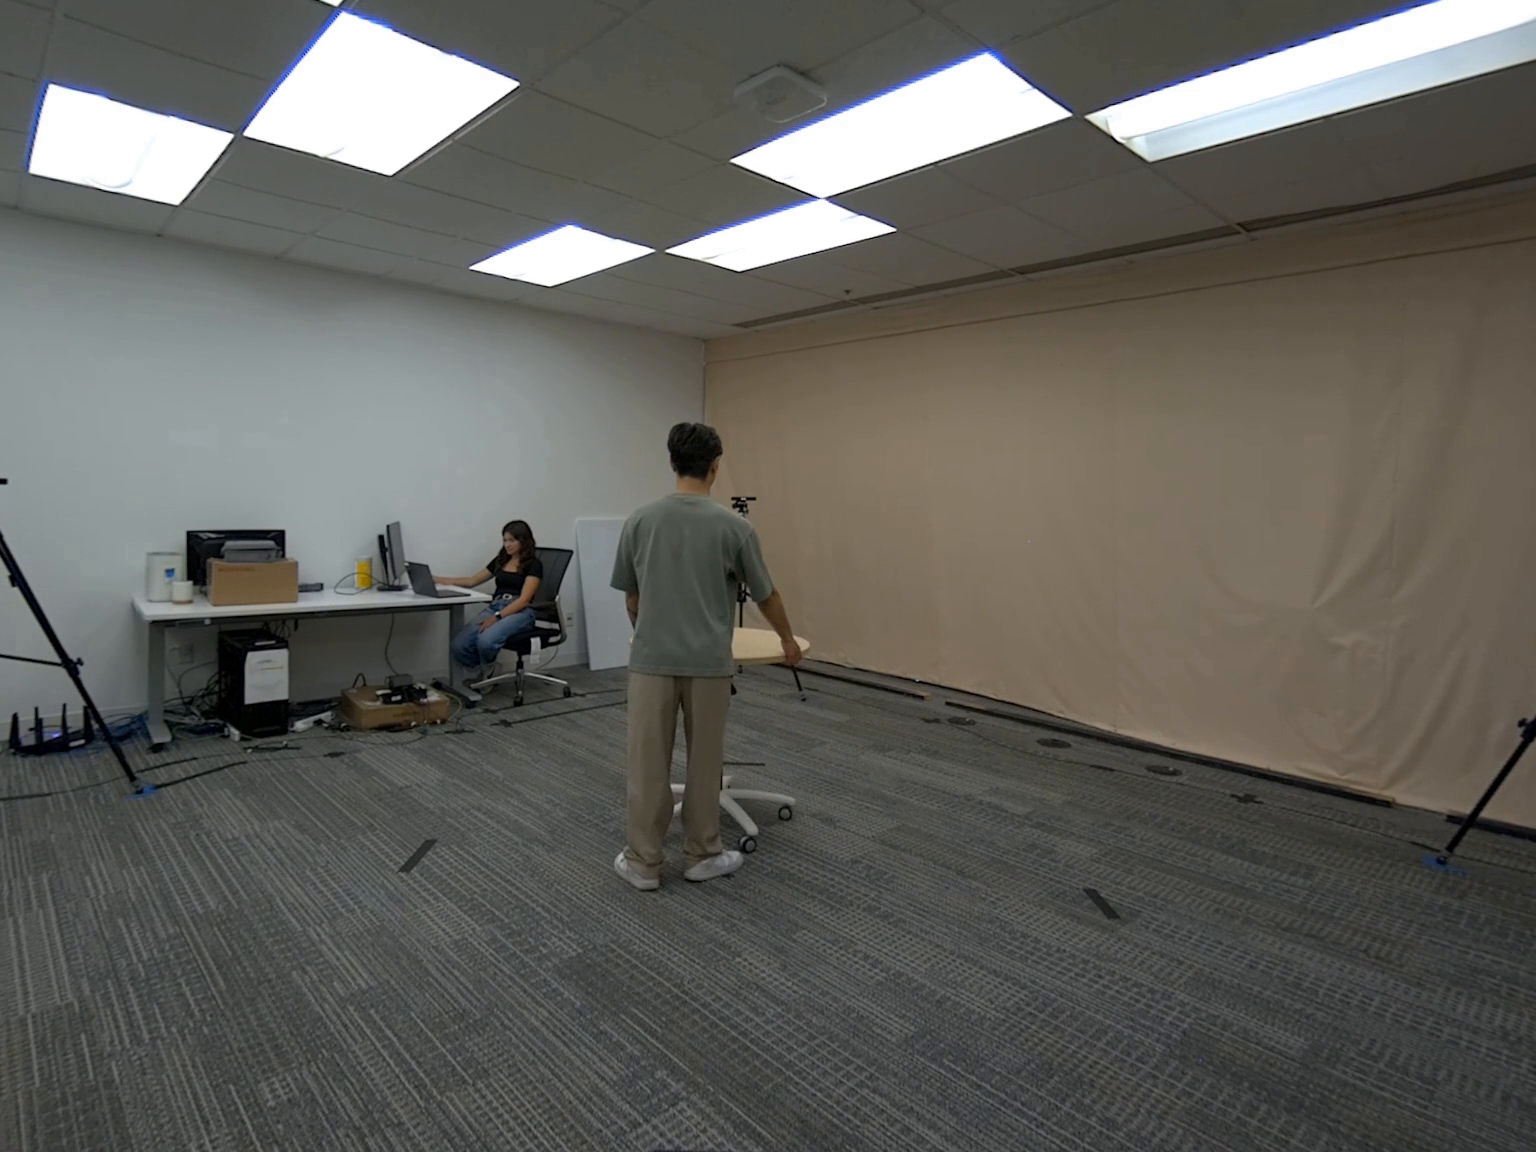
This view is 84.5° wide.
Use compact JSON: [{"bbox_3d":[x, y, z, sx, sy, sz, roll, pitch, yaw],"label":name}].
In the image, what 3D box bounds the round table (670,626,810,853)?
[{"bbox_3d":[-0.220,0.671,3.628,0.784,0.784,0.788,2,4,-1],"label":"round table"}]
